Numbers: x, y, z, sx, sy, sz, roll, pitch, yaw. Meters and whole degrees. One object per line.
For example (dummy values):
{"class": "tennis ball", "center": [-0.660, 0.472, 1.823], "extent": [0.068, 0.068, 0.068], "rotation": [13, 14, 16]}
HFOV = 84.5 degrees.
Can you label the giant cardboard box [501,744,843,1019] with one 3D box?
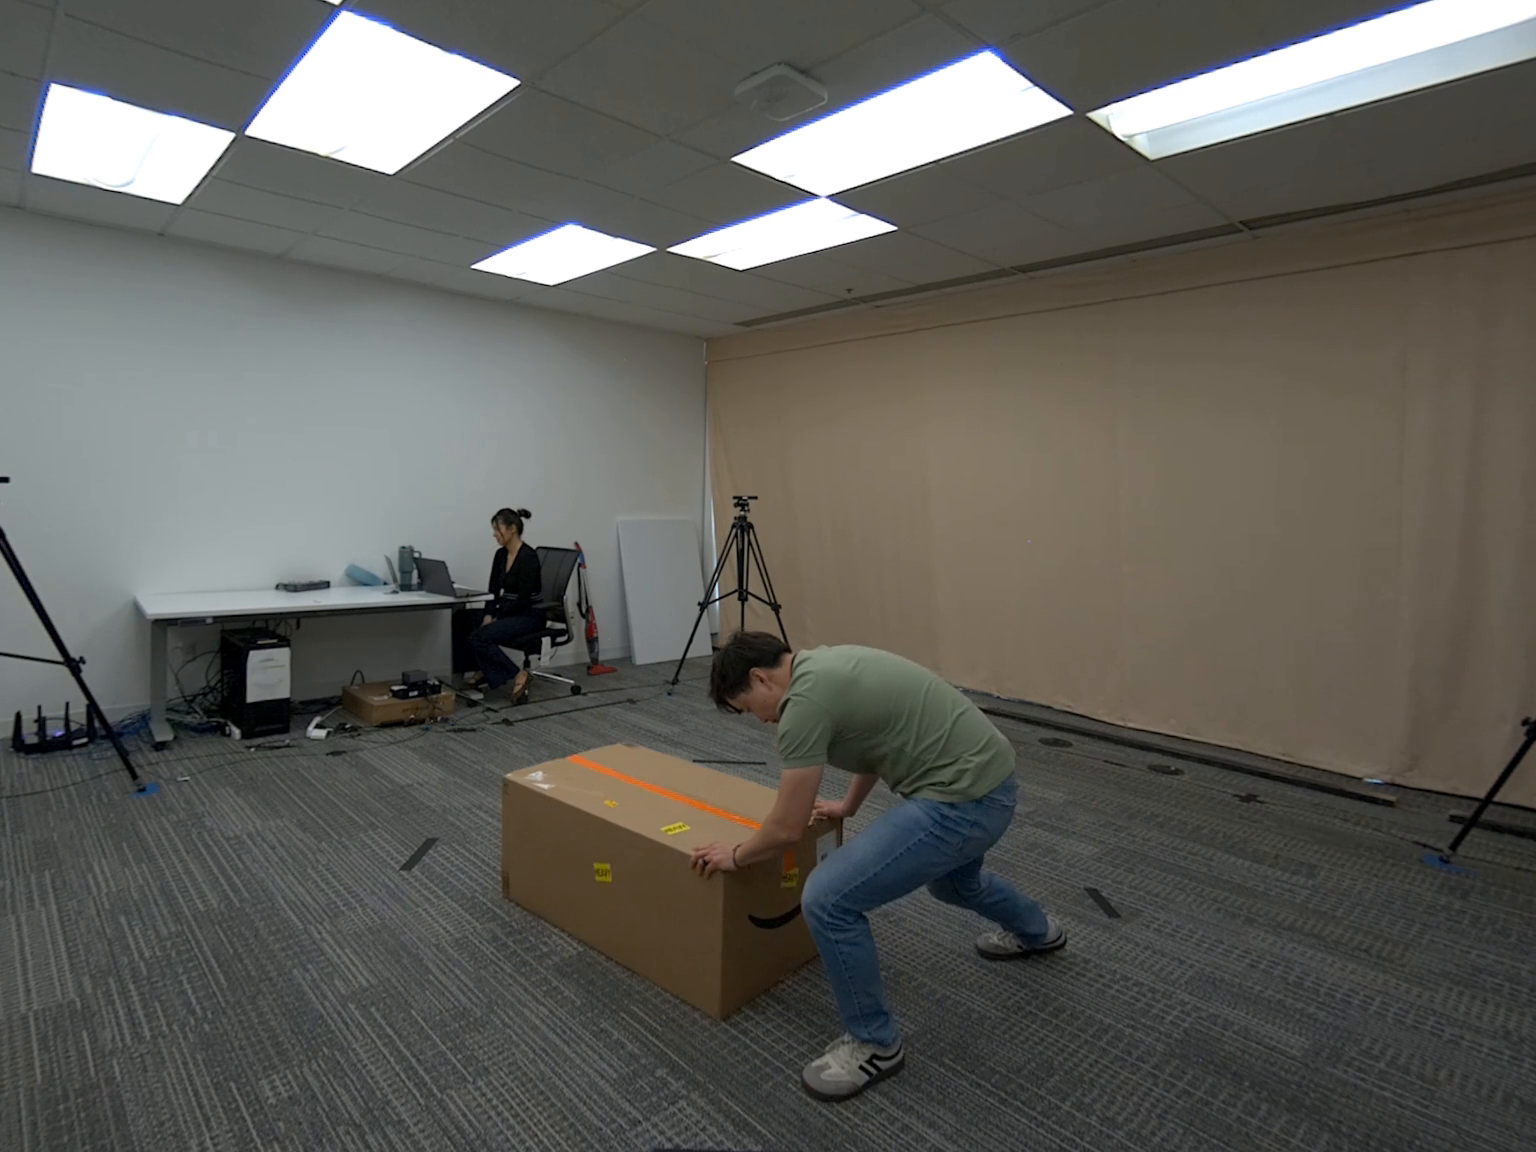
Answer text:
{"class": "giant cardboard box", "center": [-0.347, 0.919, 2.773], "extent": [1.052, 0.425, 0.565], "rotation": [6, 7, 40]}
